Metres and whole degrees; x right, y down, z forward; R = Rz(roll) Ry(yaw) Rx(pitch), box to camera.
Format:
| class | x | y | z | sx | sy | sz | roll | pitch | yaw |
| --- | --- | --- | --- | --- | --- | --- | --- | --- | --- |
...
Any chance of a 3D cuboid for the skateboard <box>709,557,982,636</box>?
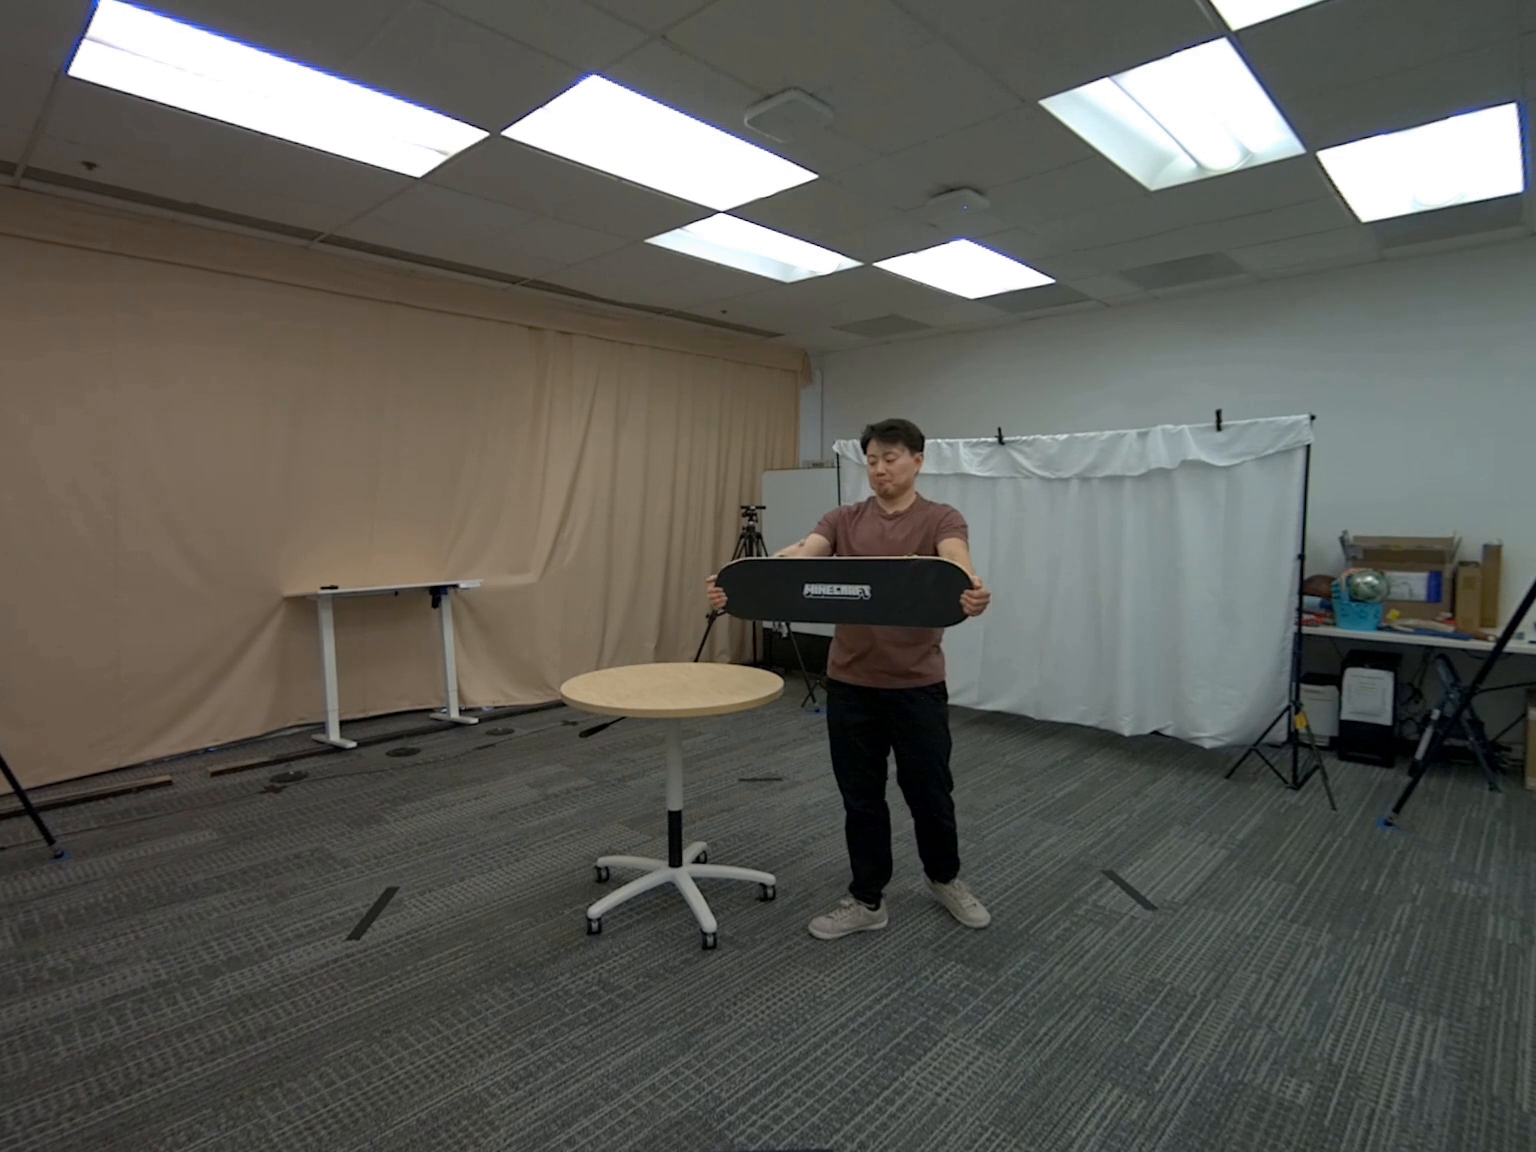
| class | x | y | z | sx | sy | sz | roll | pitch | yaw |
| --- | --- | --- | --- | --- | --- | --- | --- | --- | --- |
| skateboard | 0.198 | 0.046 | 2.436 | 0.808 | 0.193 | 0.107 | 1 | 3 | 30 |
